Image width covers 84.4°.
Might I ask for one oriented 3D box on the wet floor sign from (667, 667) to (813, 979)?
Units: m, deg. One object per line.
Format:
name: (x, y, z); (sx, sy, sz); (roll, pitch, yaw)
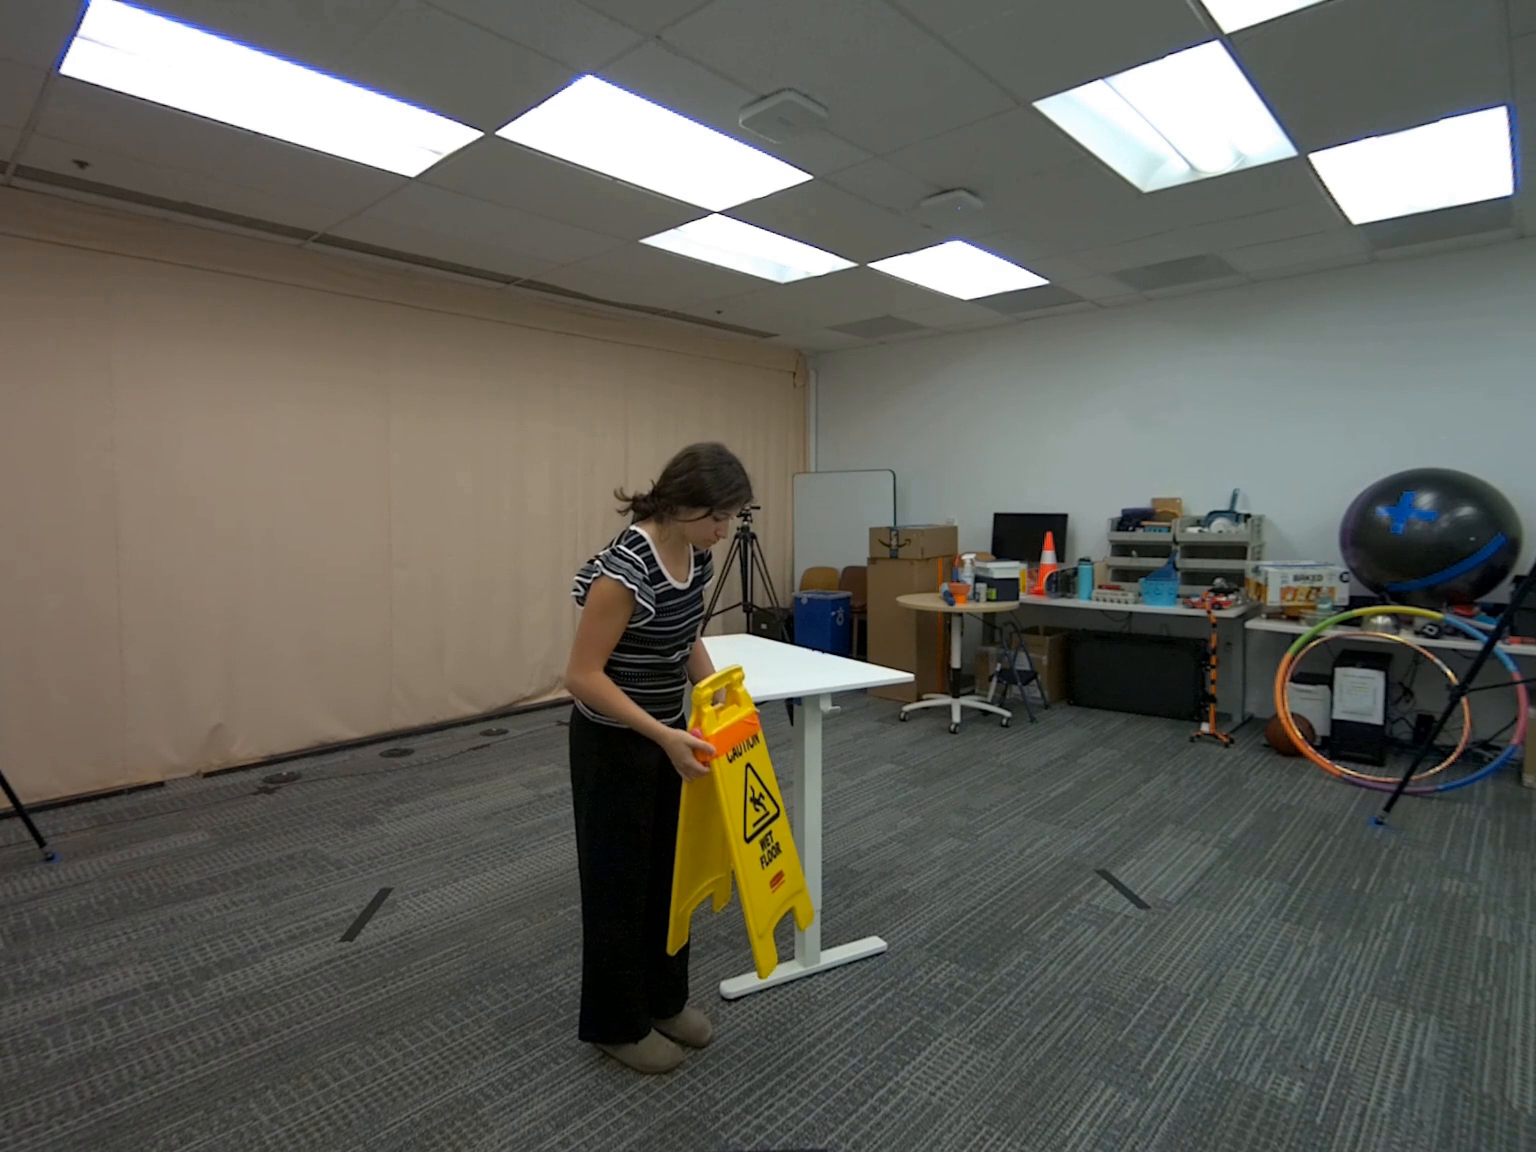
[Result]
wet floor sign: (-0.094, 0.555, 1.984); (0.298, 0.643, 0.276); (-2, 7, 30)
